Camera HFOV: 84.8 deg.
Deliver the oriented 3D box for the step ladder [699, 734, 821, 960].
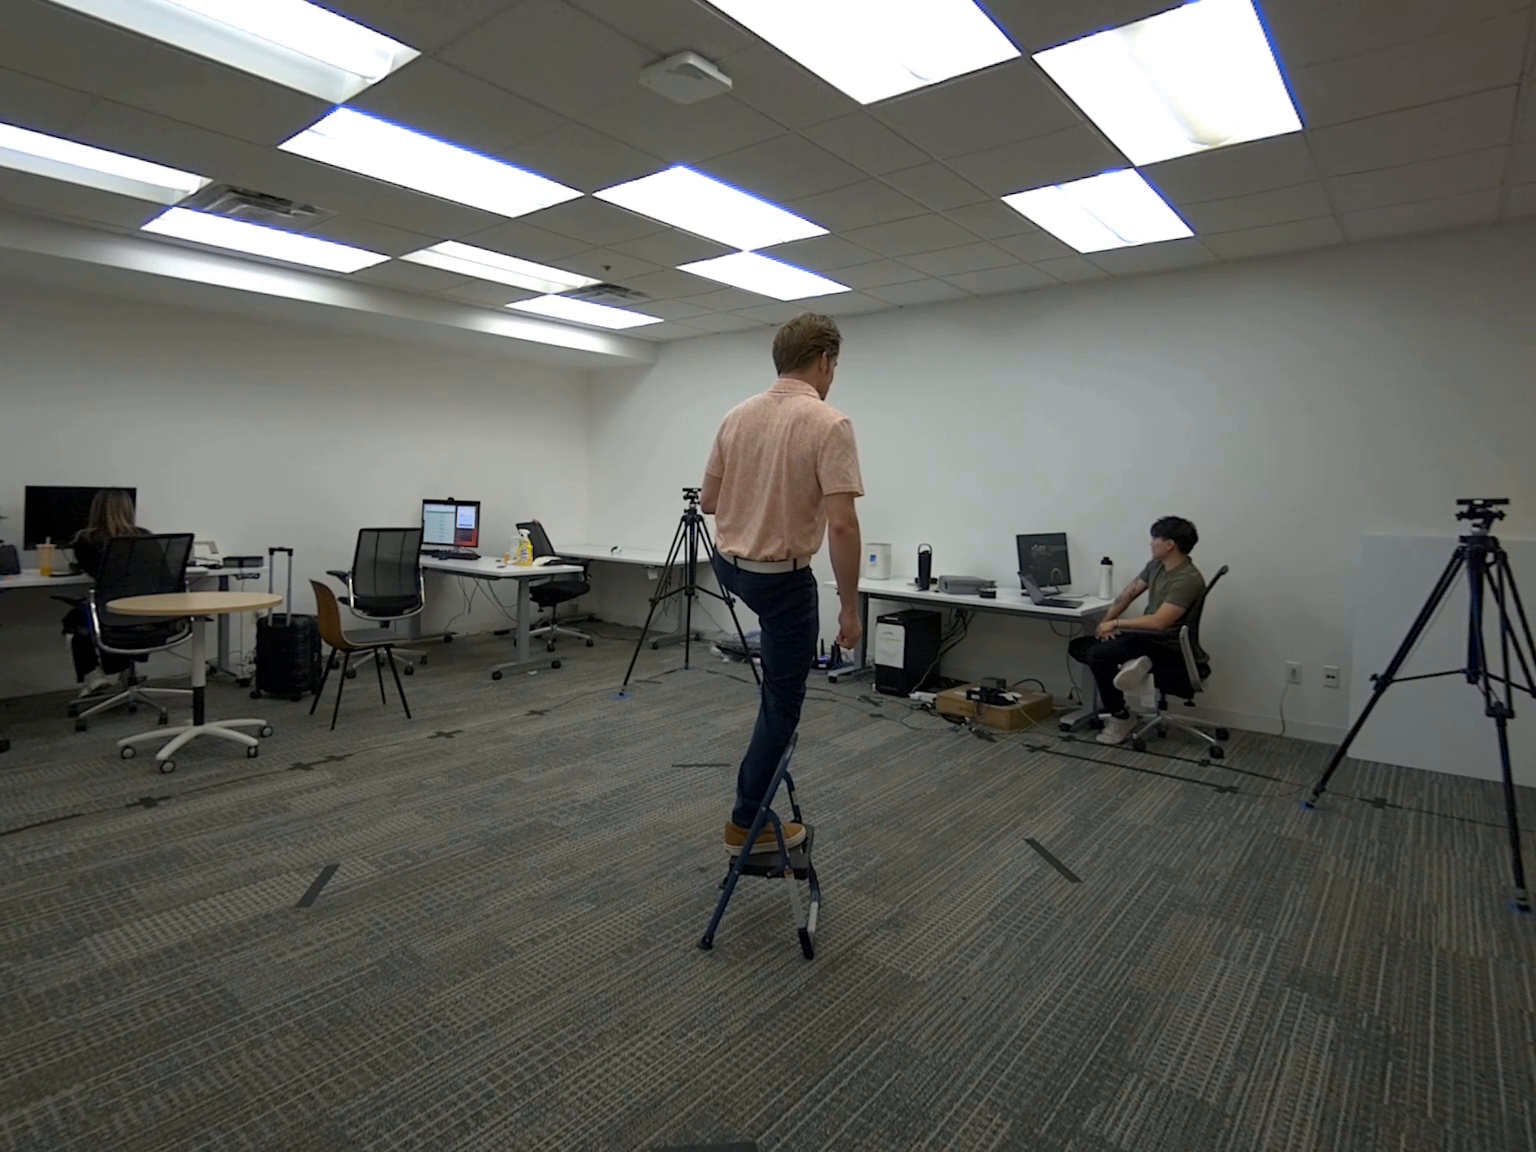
[{"bbox_3d":[-0.014,0.812,2.731,0.353,0.604,0.428,2,4,7],"label":"step ladder"}]
